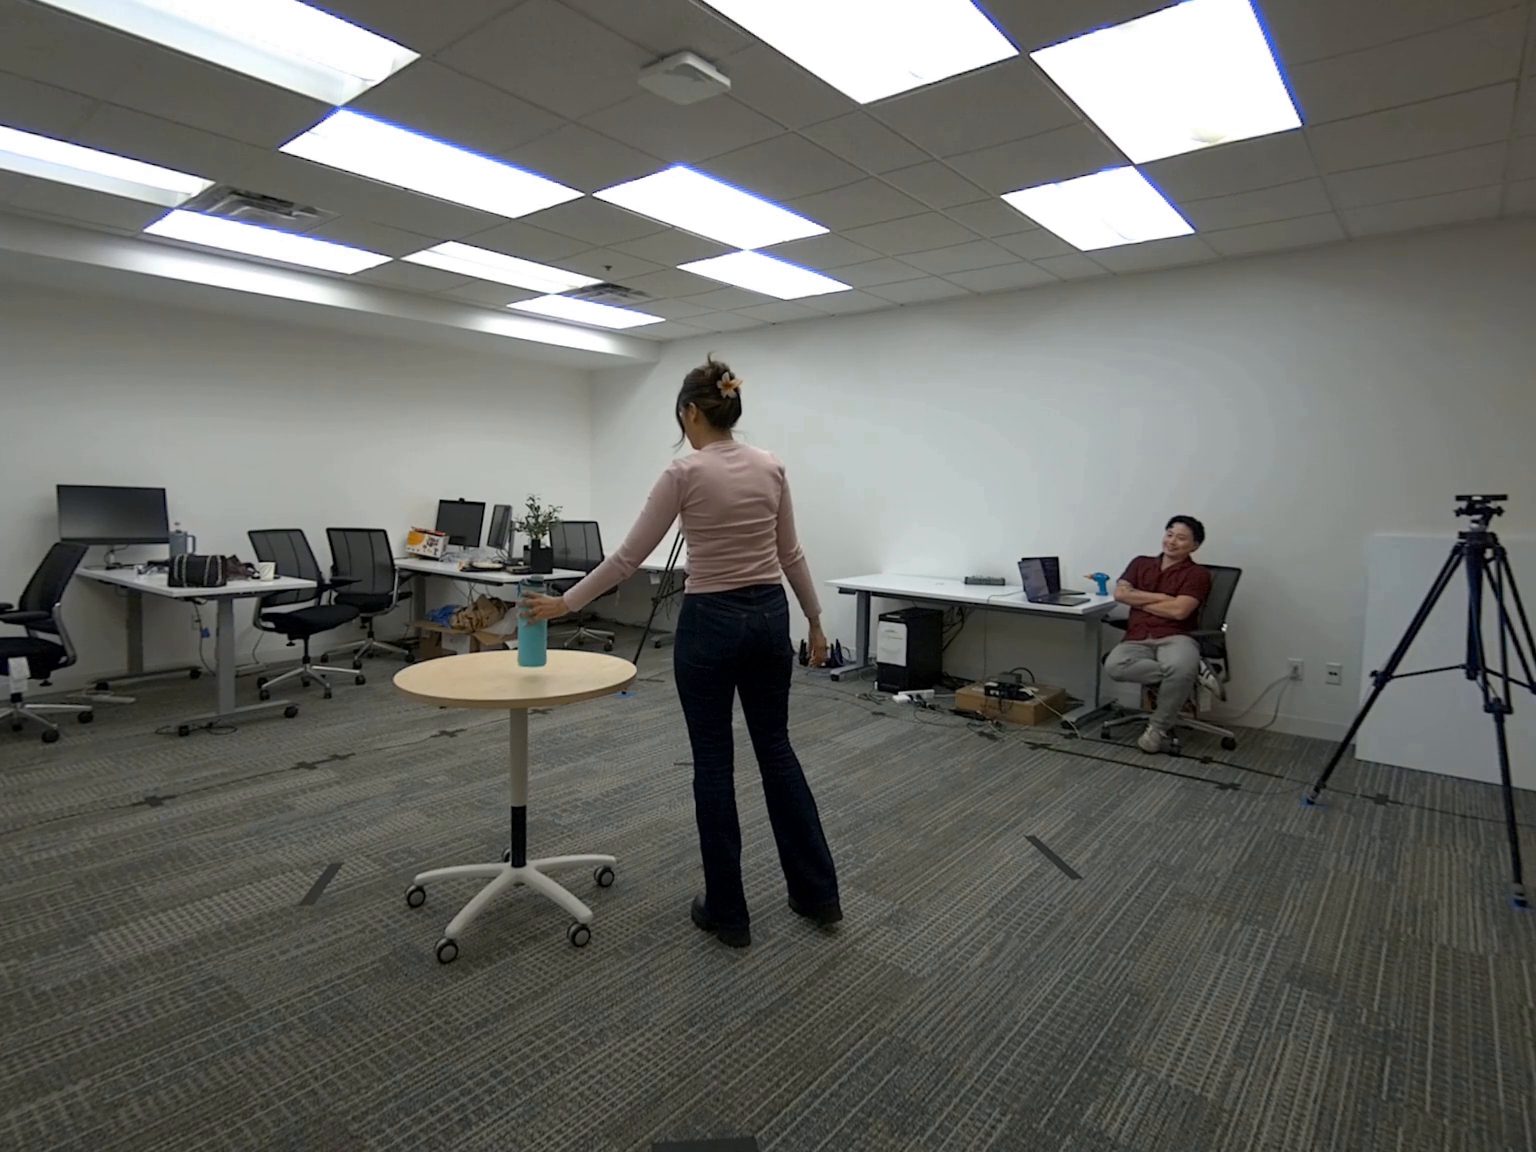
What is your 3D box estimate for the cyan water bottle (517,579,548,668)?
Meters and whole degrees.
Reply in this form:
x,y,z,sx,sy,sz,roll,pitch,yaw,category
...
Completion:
x,y,z,sx,sy,sz,roll,pitch,yaw,category
-0.751,0.136,2.681,0.092,0.284,0.092,0,-1,-2,cyan water bottle
